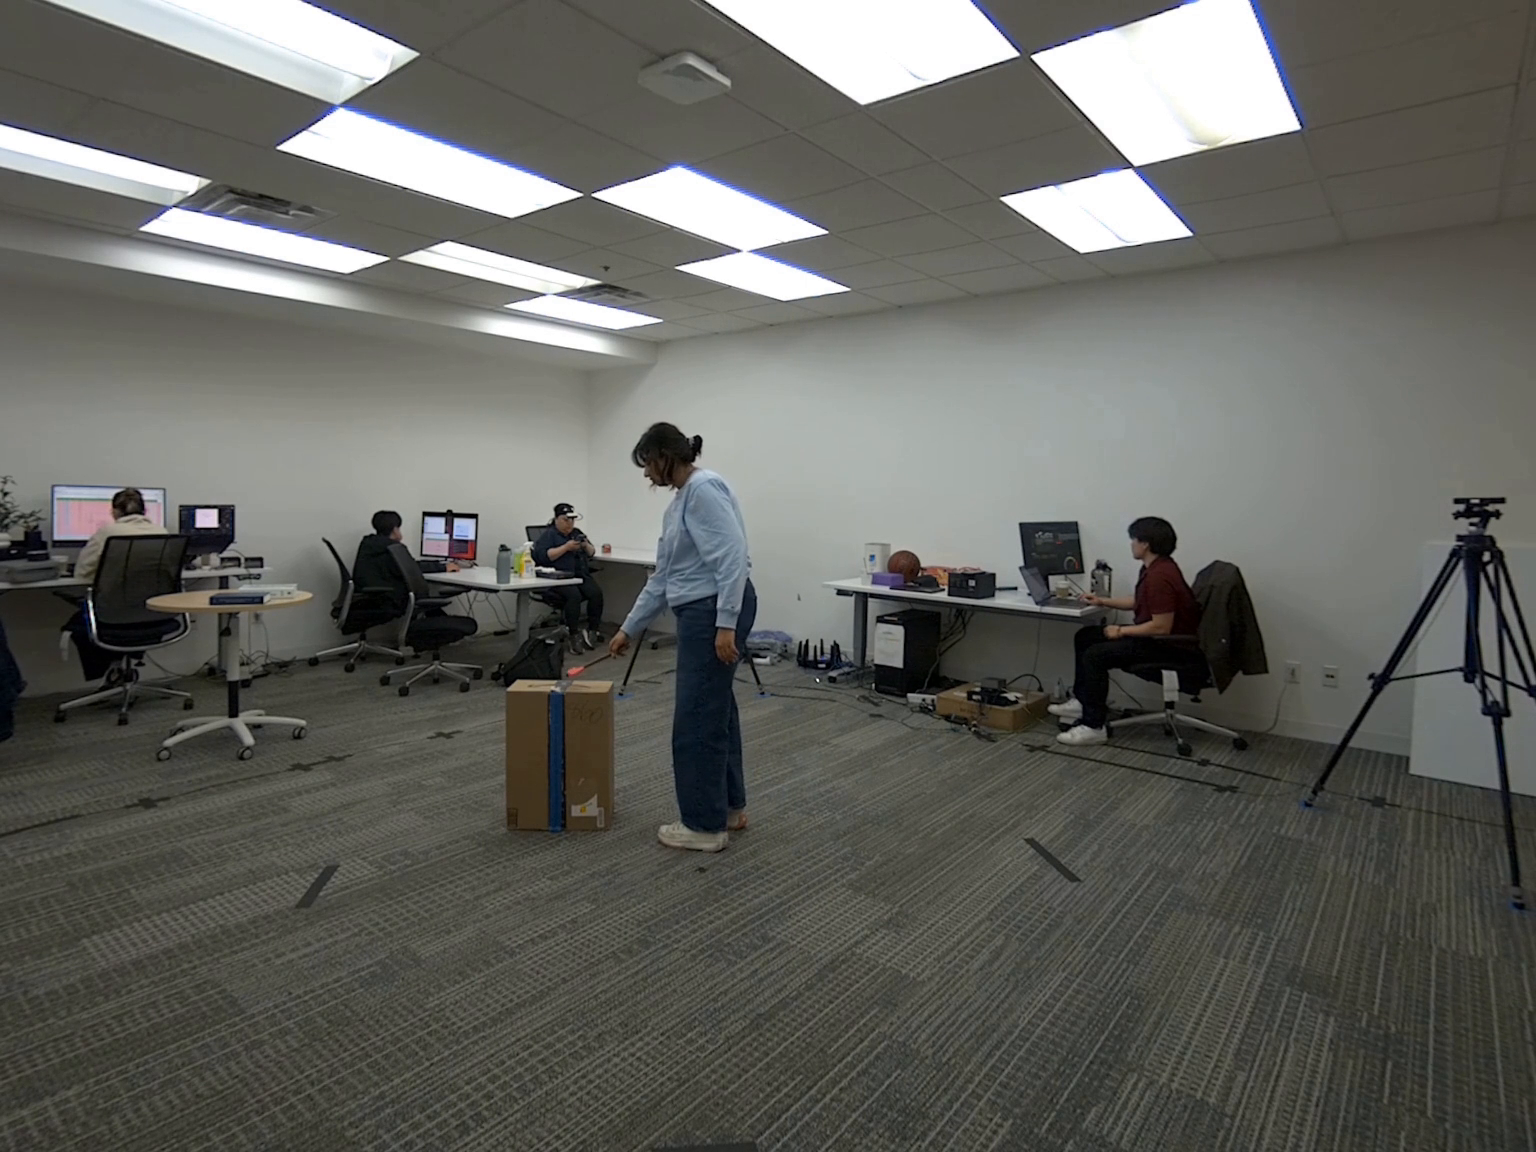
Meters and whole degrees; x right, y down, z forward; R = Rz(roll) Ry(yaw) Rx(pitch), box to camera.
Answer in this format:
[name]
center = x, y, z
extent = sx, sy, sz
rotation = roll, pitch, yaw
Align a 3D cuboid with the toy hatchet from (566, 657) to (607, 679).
[toy hatchet]
center = -0.731, 0.351, 3.500
extent = 0.271, 0.029, 0.131
rotation = -24, 3, 7
